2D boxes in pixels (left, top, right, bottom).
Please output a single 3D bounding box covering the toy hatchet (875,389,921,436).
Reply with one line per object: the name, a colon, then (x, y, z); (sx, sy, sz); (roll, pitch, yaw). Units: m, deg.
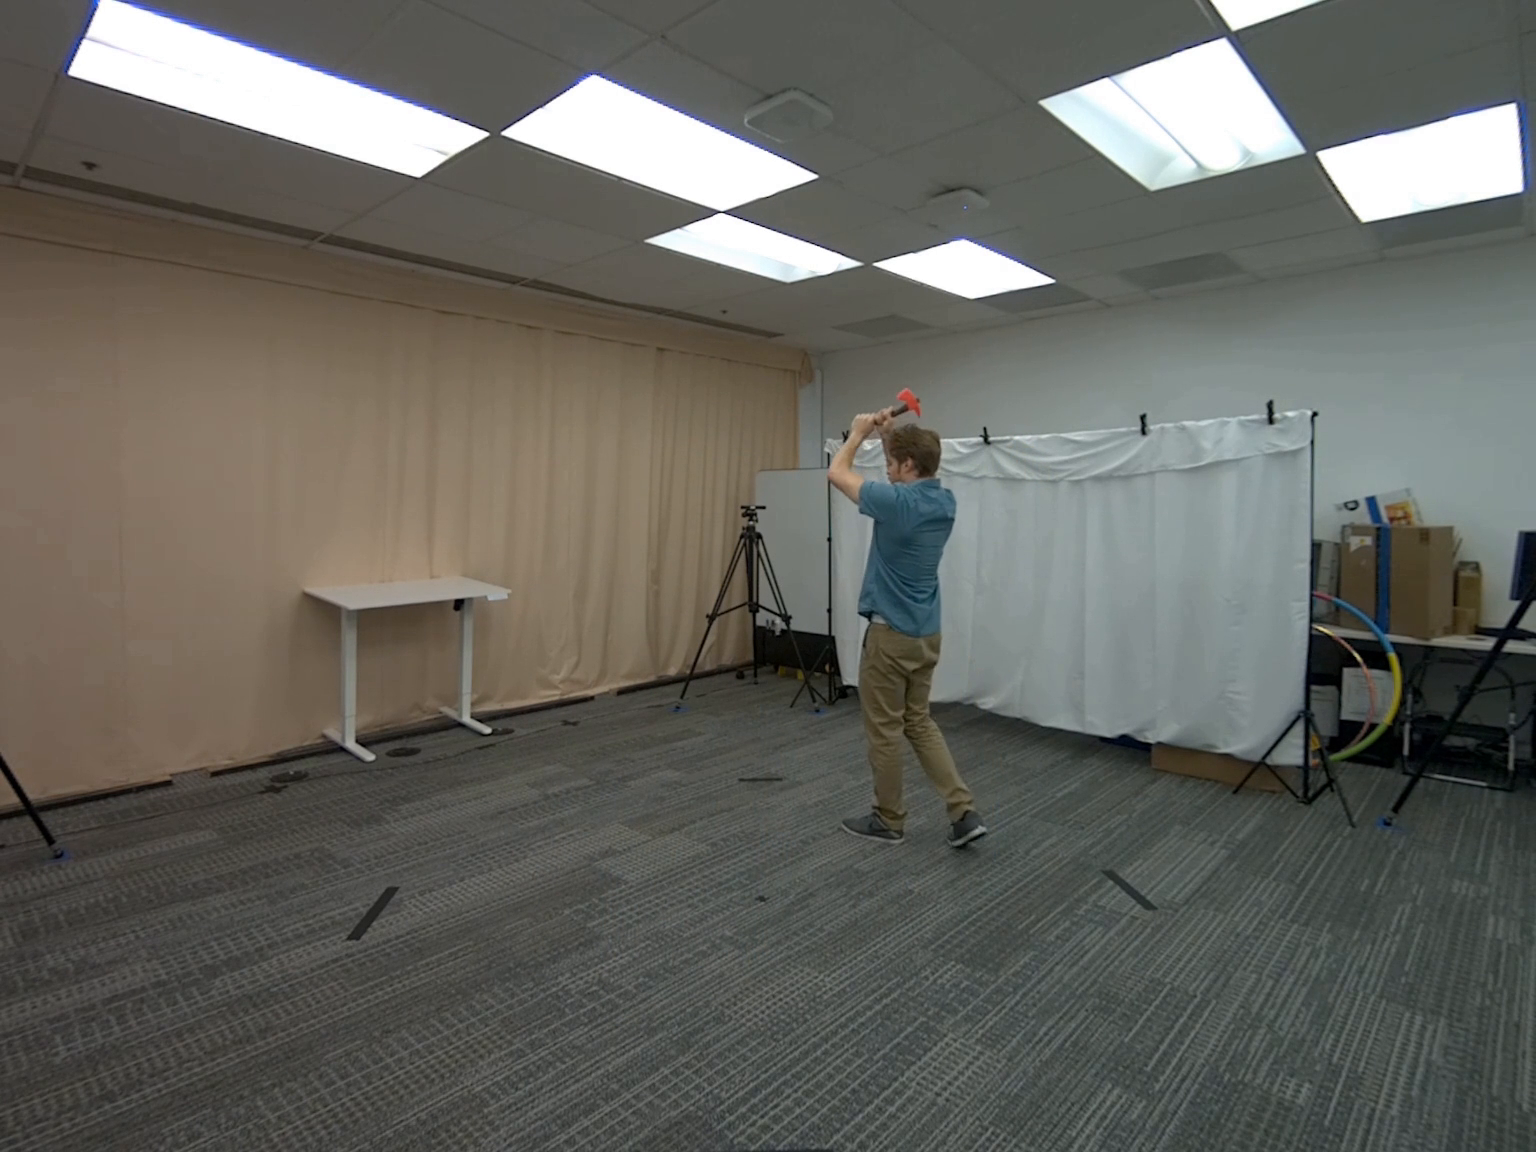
toy hatchet: (0.500, -0.704, 3.555); (0.274, 0.130, 0.029); (-4, 5, 15)
